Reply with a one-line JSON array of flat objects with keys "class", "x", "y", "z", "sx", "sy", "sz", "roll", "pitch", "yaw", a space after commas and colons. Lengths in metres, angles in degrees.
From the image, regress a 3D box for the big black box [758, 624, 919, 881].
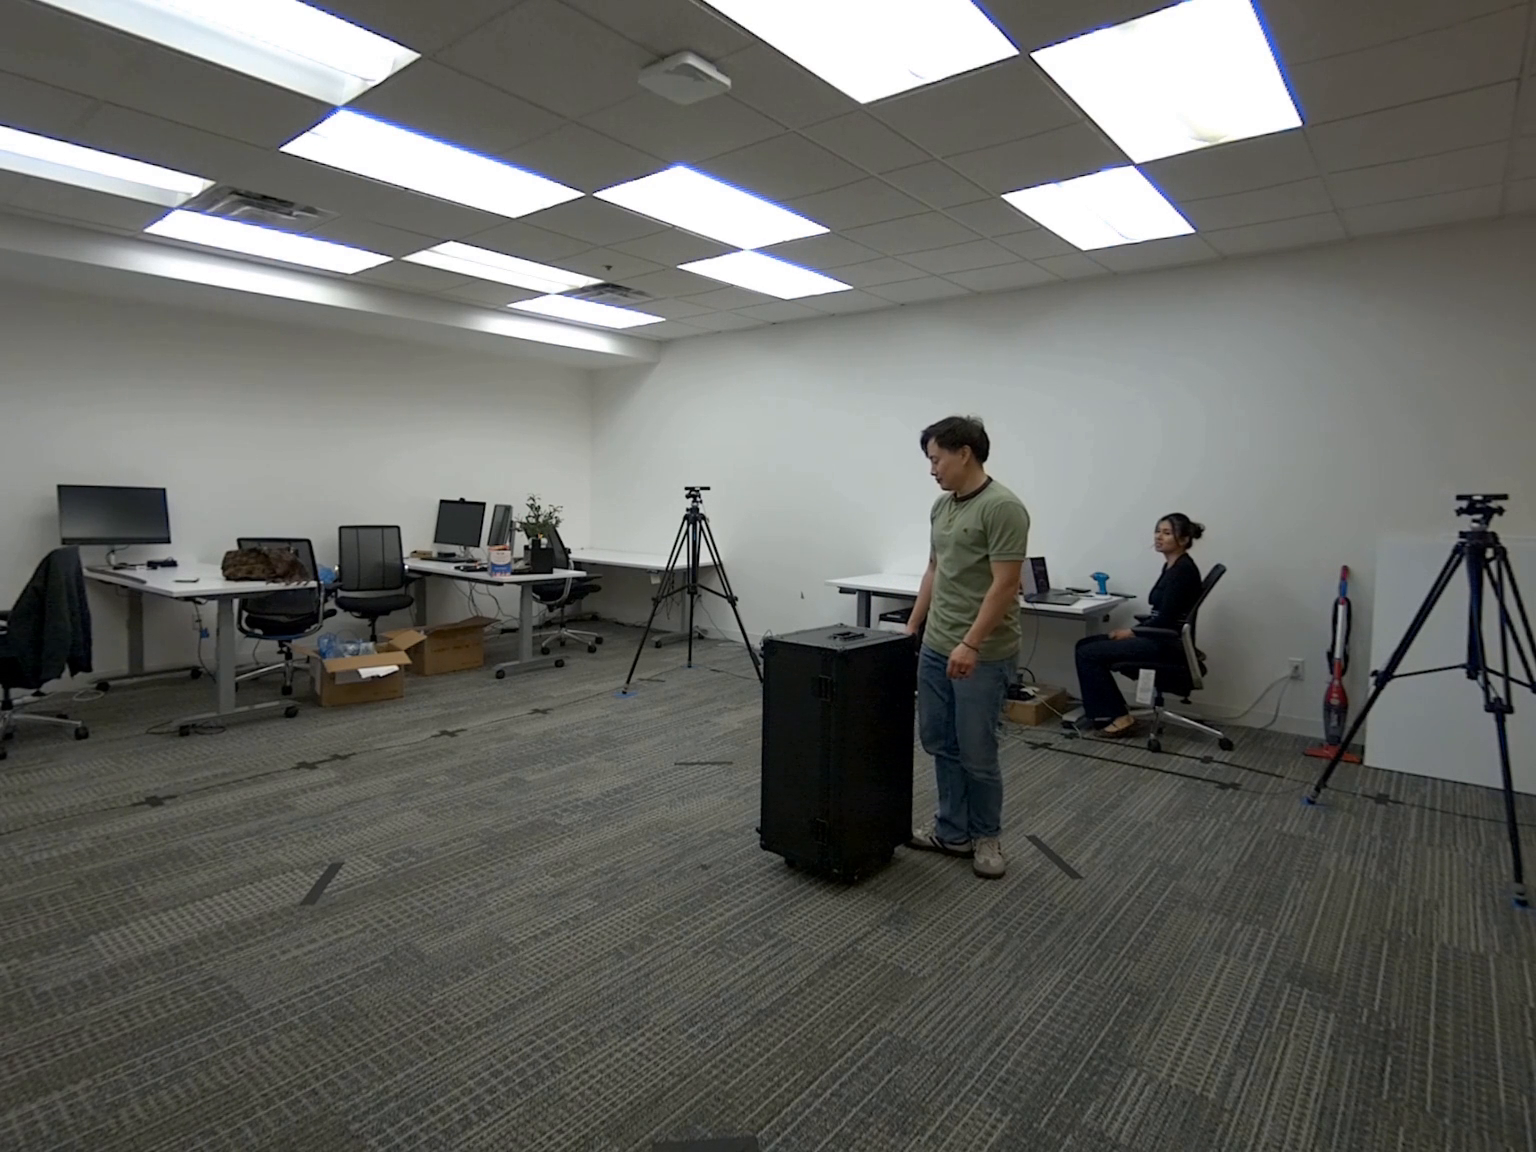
[{"class": "big black box", "x": 0.245, "y": 0.643, "z": 3.166, "sx": 0.409, "sy": 0.859, "sz": 0.506, "roll": 3, "pitch": 4, "yaw": 41}]
